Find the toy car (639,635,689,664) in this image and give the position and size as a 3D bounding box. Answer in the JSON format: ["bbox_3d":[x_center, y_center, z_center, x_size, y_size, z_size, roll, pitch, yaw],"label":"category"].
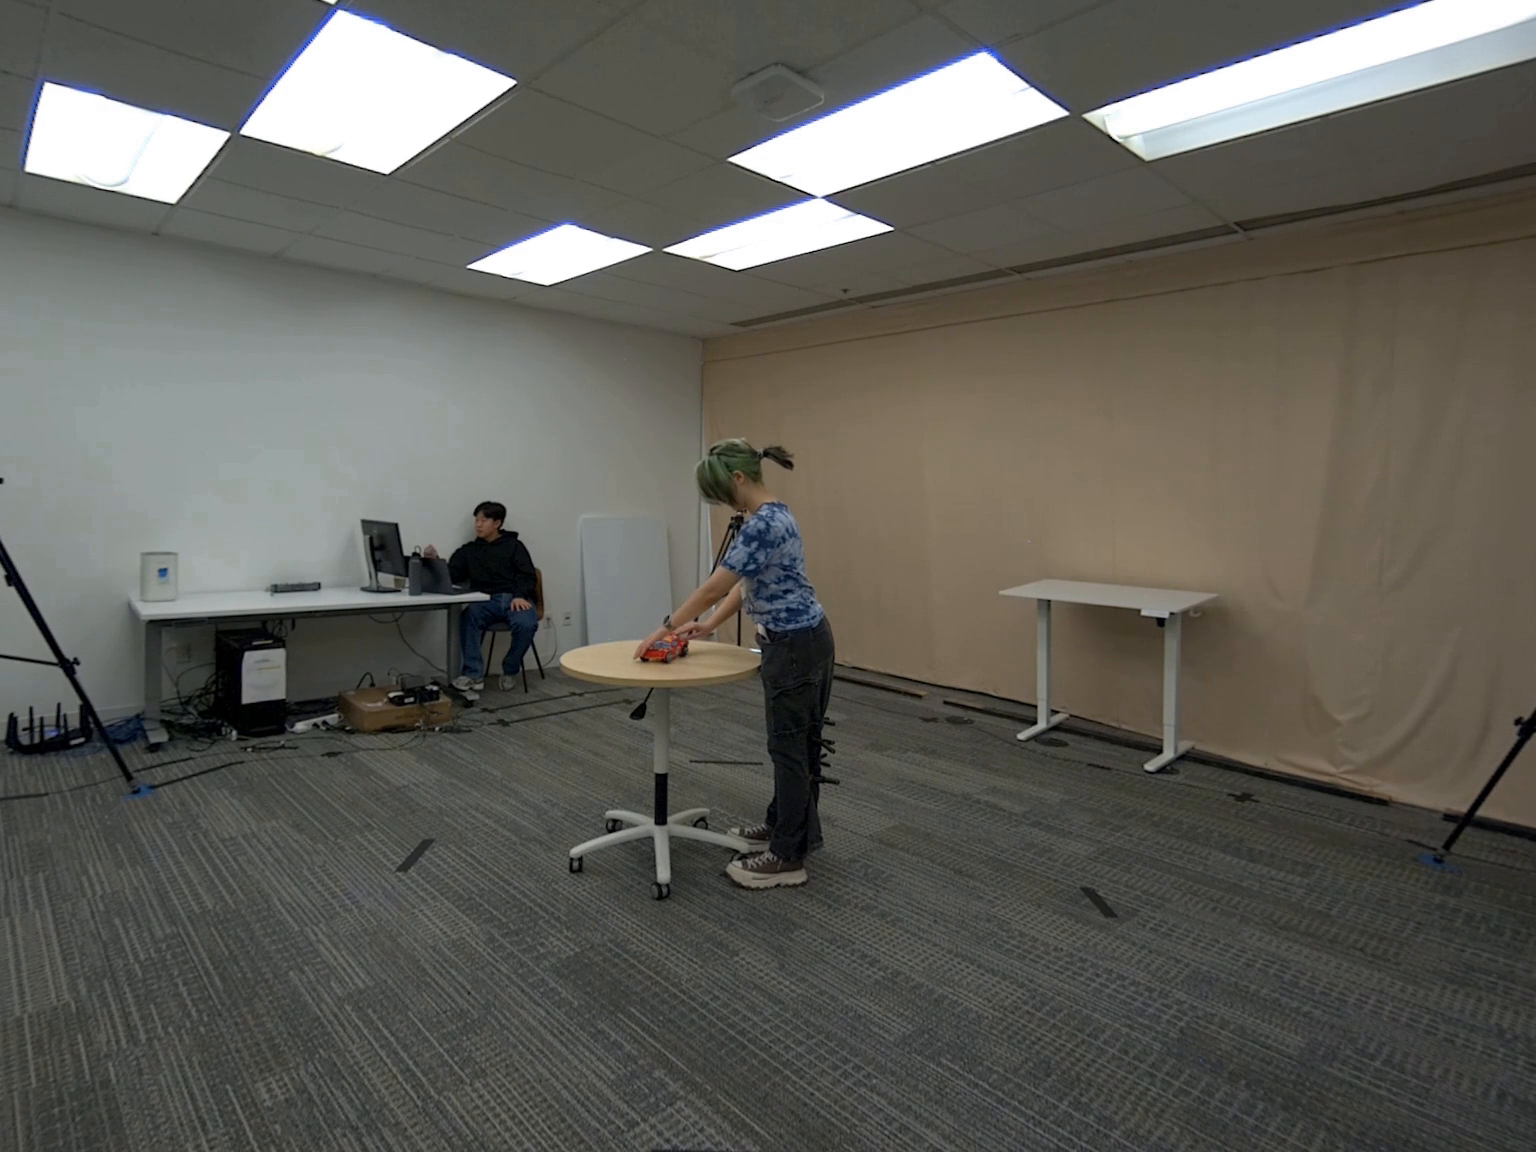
[{"bbox_3d":[-0.386,0.278,3.181,0.132,0.082,0.254,2,17,17],"label":"toy car"}]
